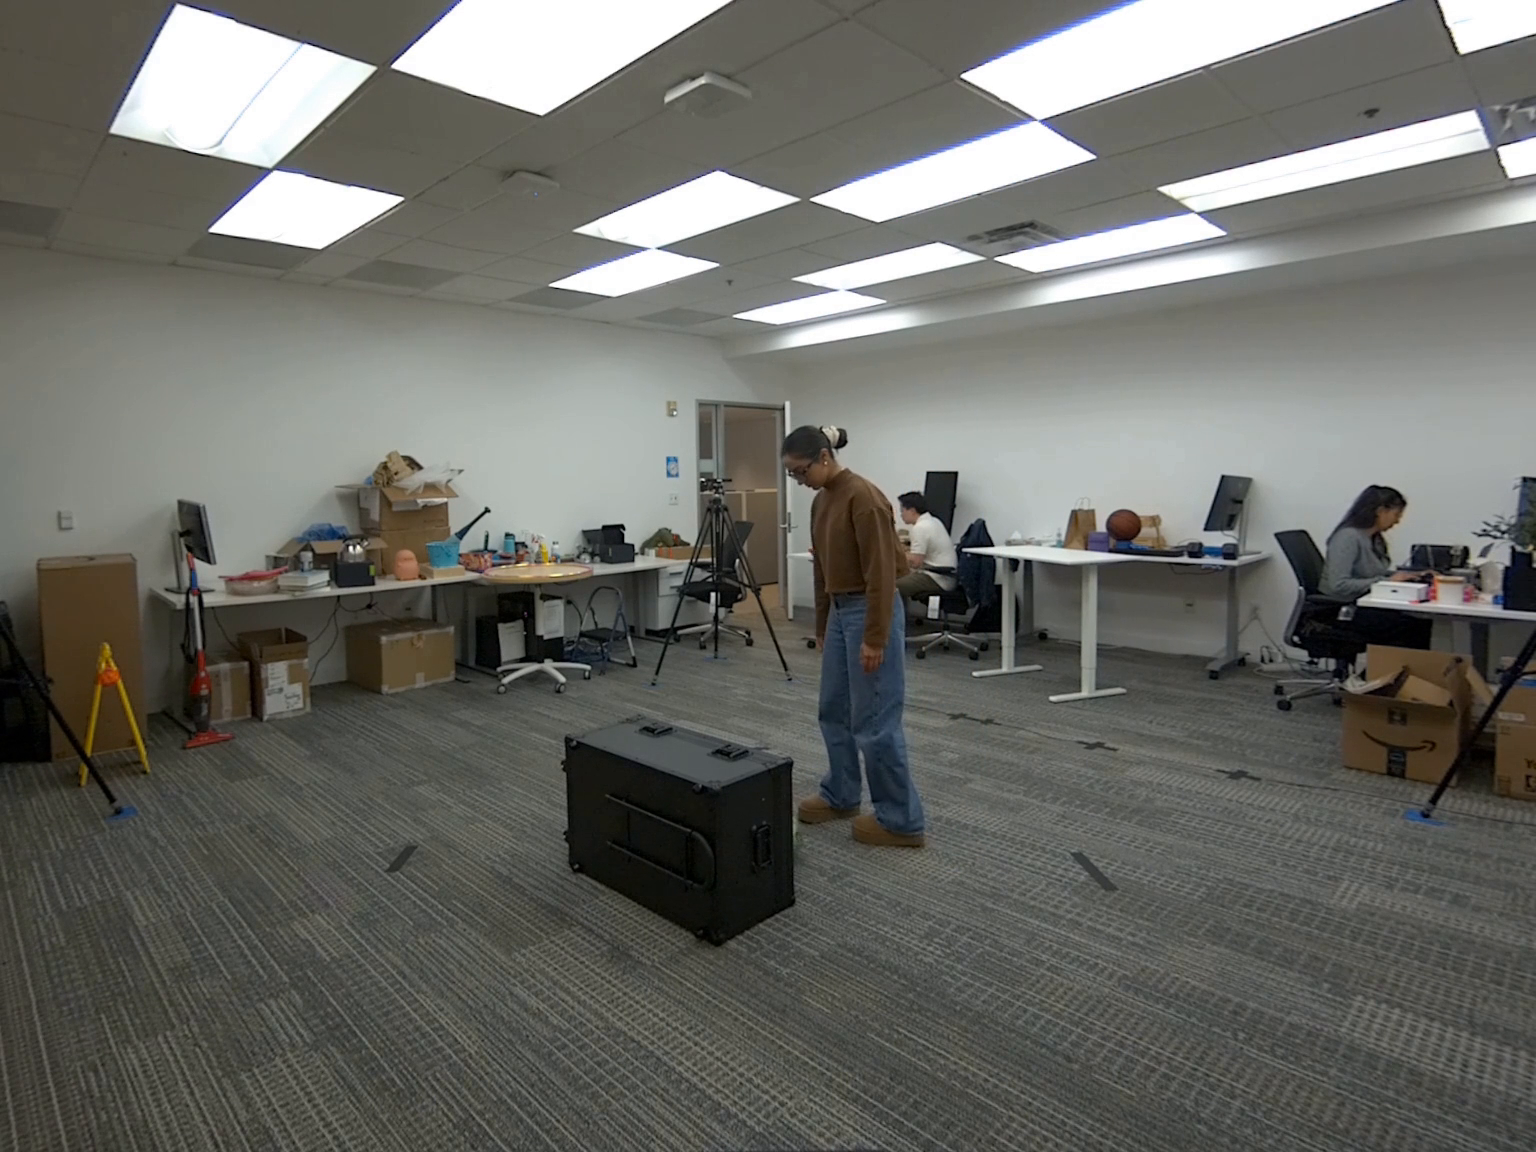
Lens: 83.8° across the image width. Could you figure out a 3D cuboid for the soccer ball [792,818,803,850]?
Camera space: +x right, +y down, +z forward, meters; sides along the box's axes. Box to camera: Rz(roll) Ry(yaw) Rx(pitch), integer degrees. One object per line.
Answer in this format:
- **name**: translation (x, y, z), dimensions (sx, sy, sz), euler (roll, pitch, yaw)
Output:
- **soccer ball**: translation (0.033, 0.942, 3.110), dimensions (0.187, 0.187, 0.188), euler (-1, 5, -2)
